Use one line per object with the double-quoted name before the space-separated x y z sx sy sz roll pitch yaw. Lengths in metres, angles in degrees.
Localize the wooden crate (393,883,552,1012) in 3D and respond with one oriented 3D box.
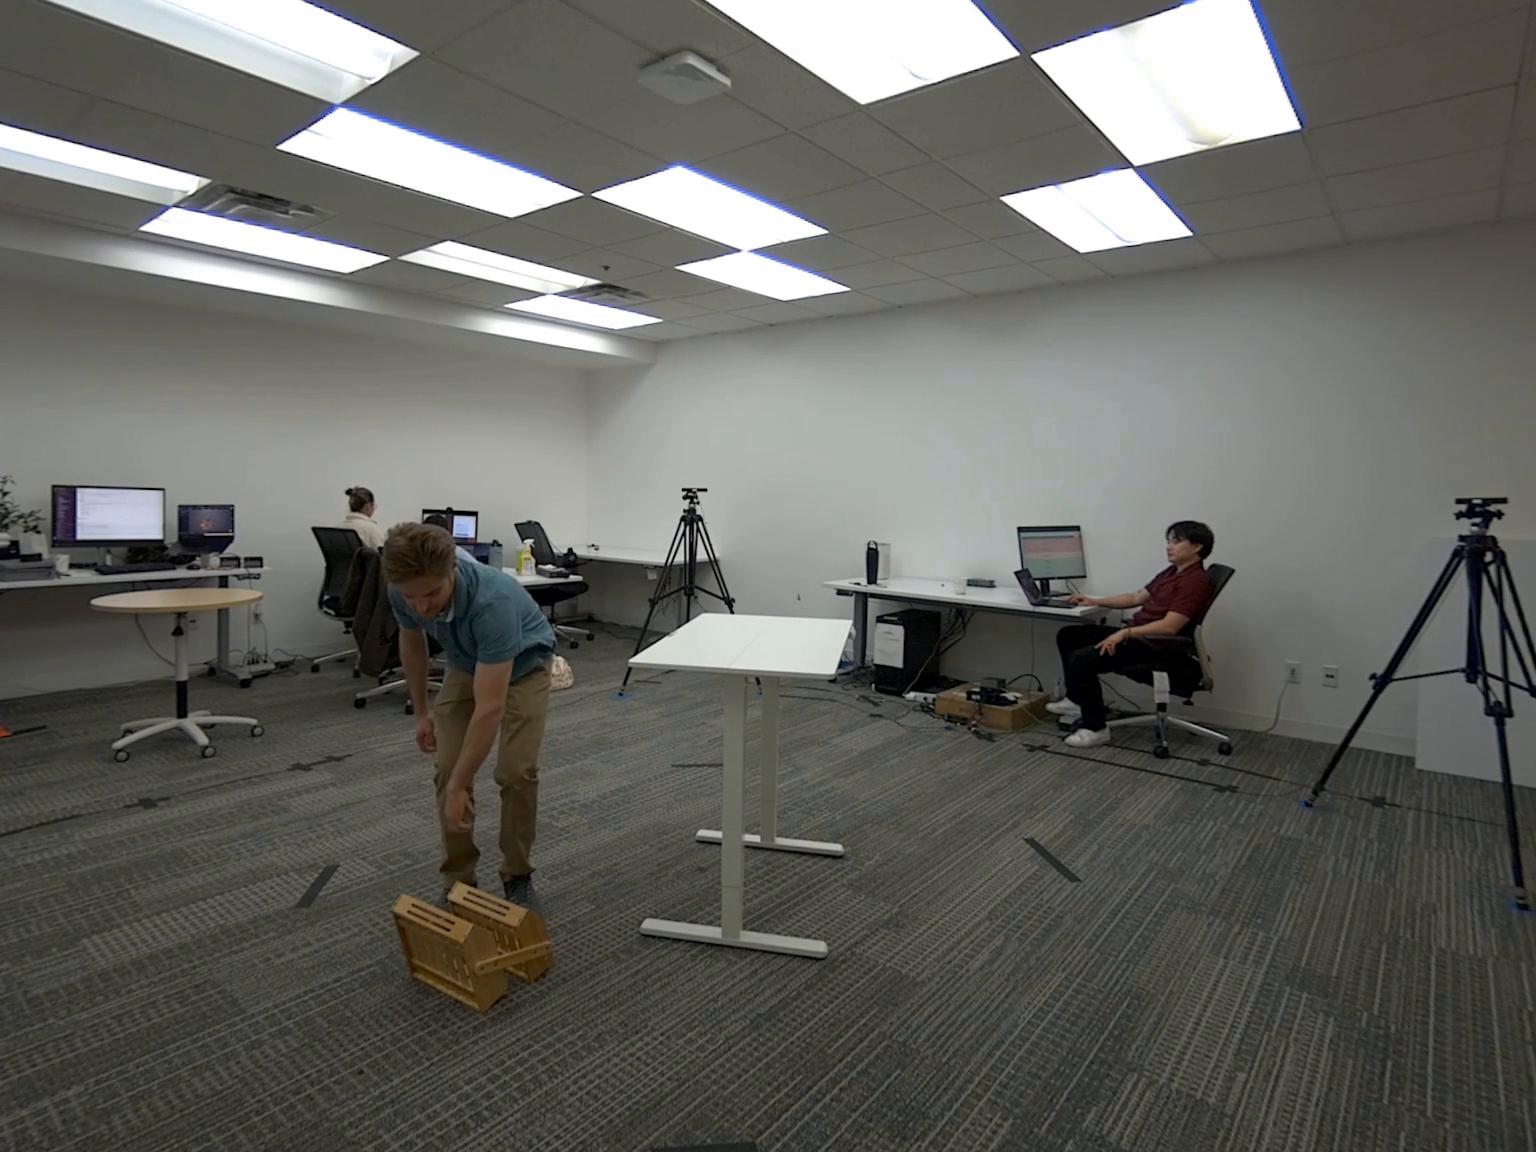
"wooden crate" -0.836 0.997 2.398 0.334 0.296 0.270 3 21 31
